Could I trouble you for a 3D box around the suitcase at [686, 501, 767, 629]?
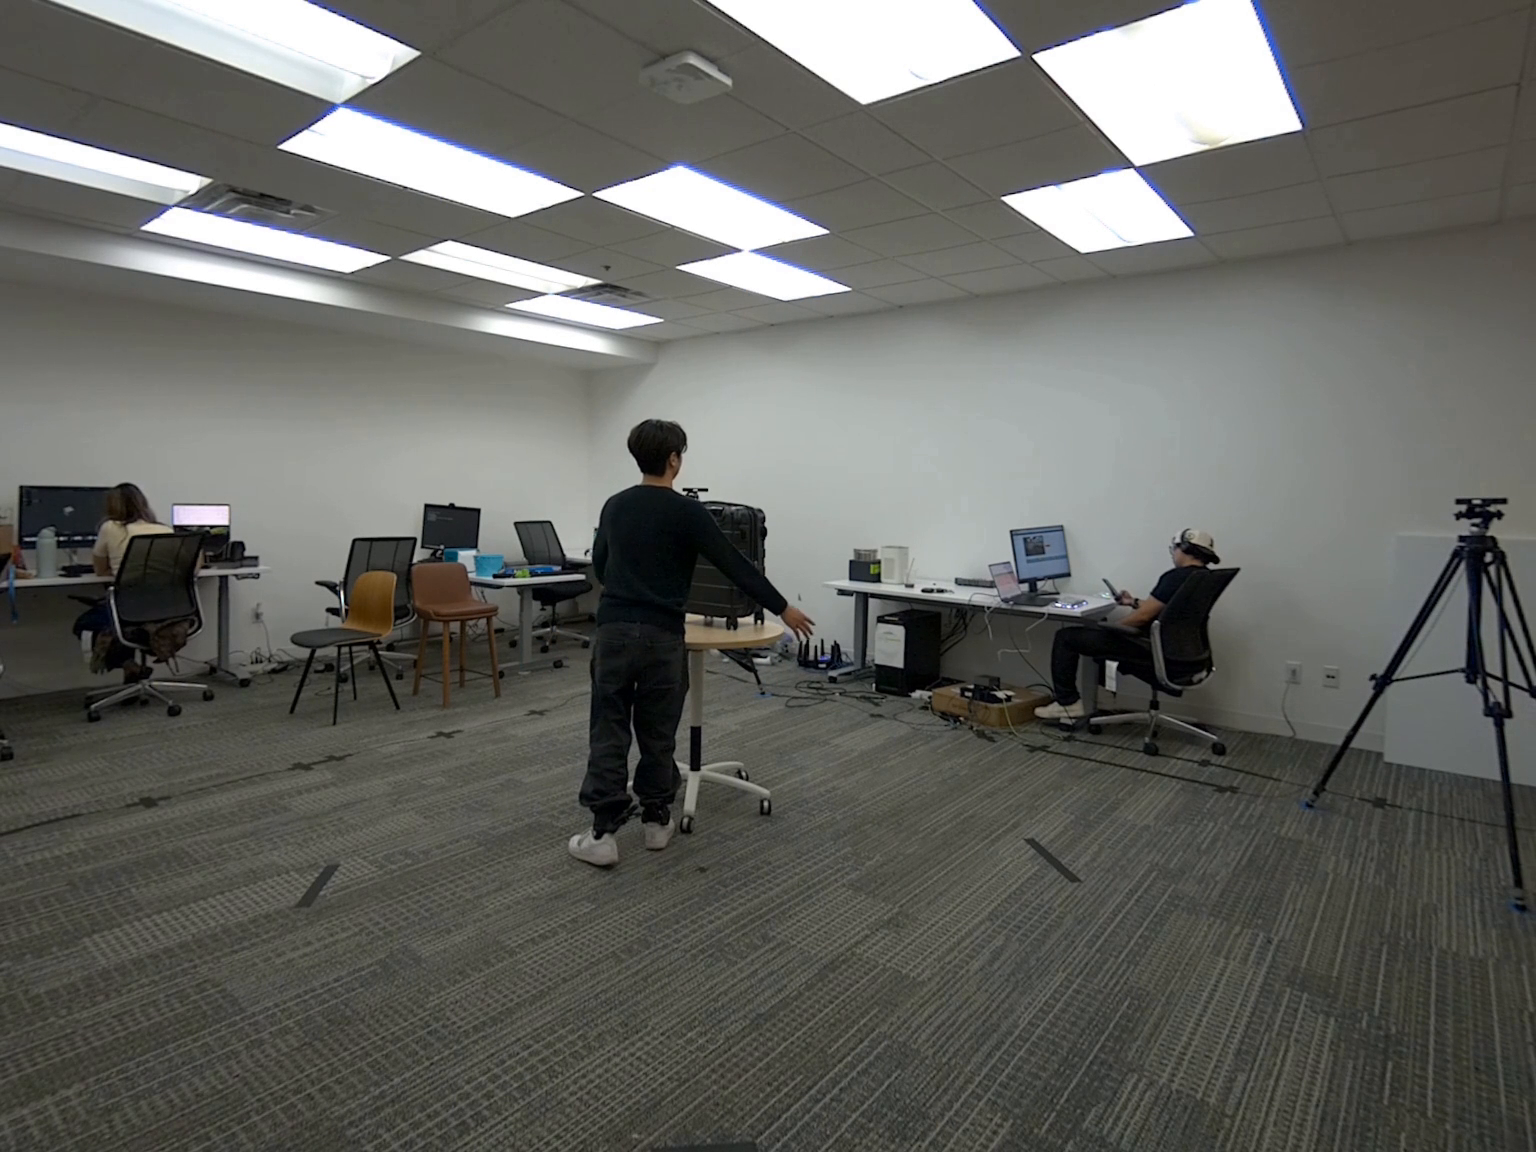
[{"bbox_3d":[-0.221,-0.064,3.844,0.388,0.548,0.241,4,4,37],"label":"suitcase"}]
